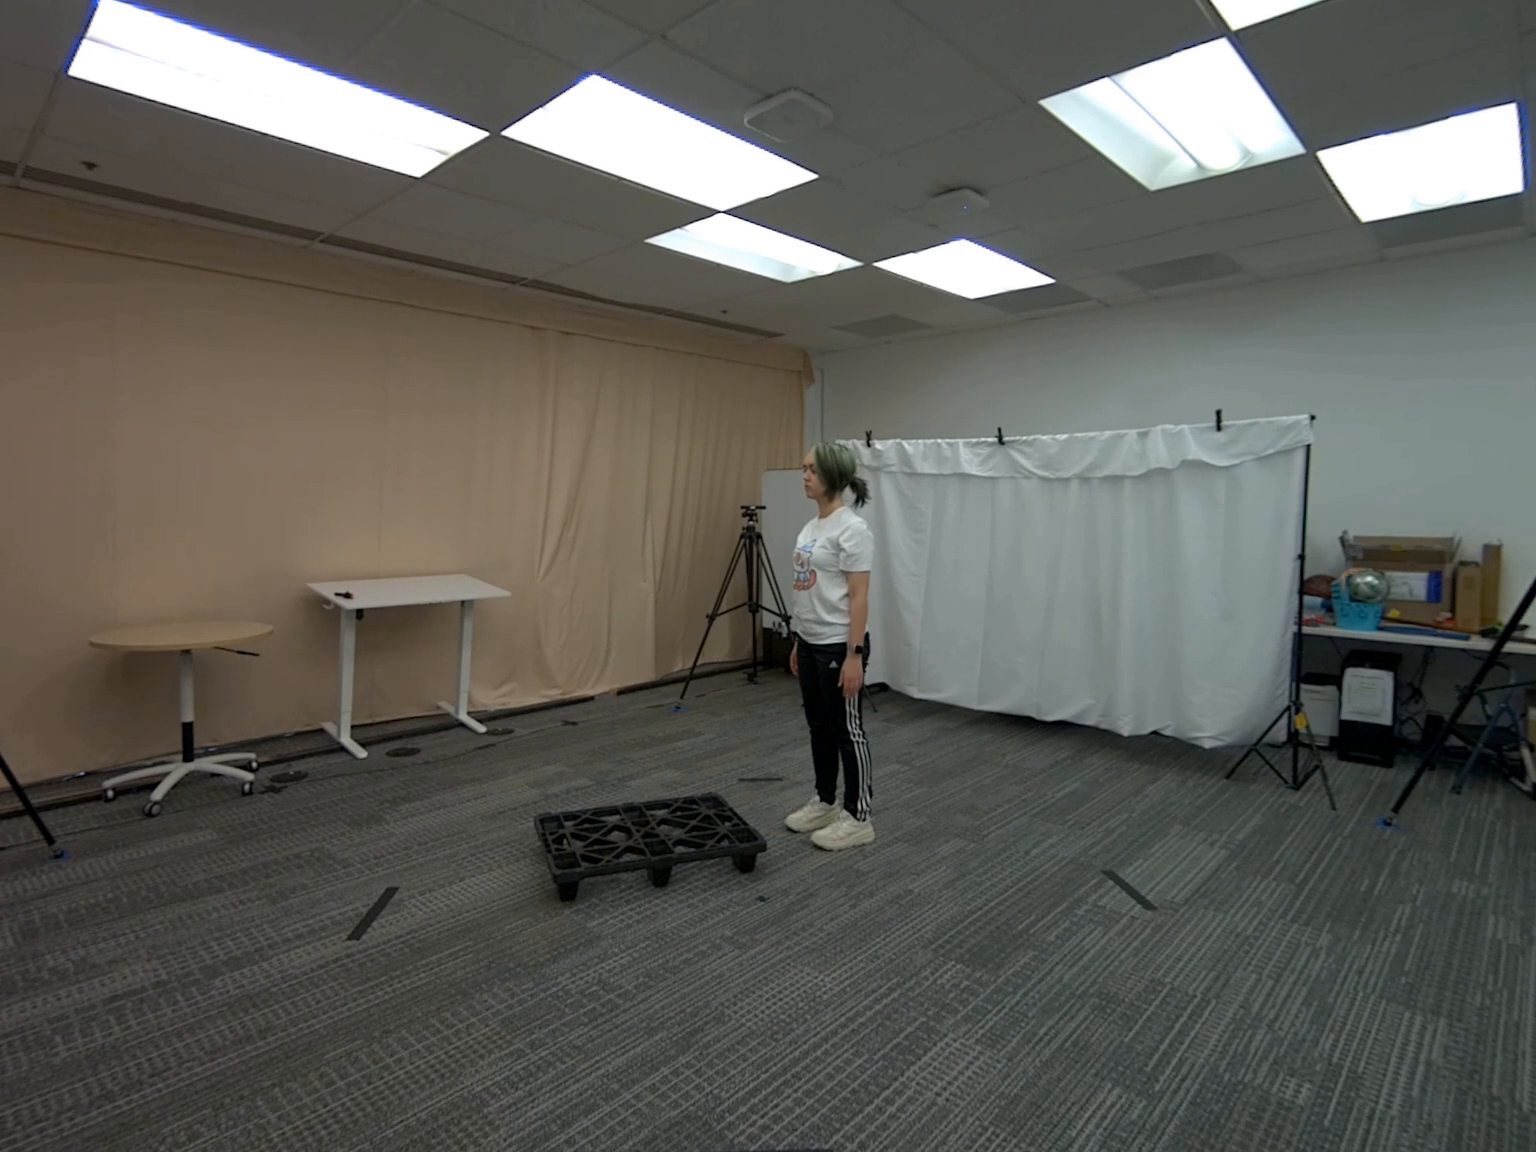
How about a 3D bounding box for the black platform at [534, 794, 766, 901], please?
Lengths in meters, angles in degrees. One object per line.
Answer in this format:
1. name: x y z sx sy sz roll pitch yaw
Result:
1. black platform: -0.481 1.053 3.303 0.790 0.143 0.618 -2 4 -20
